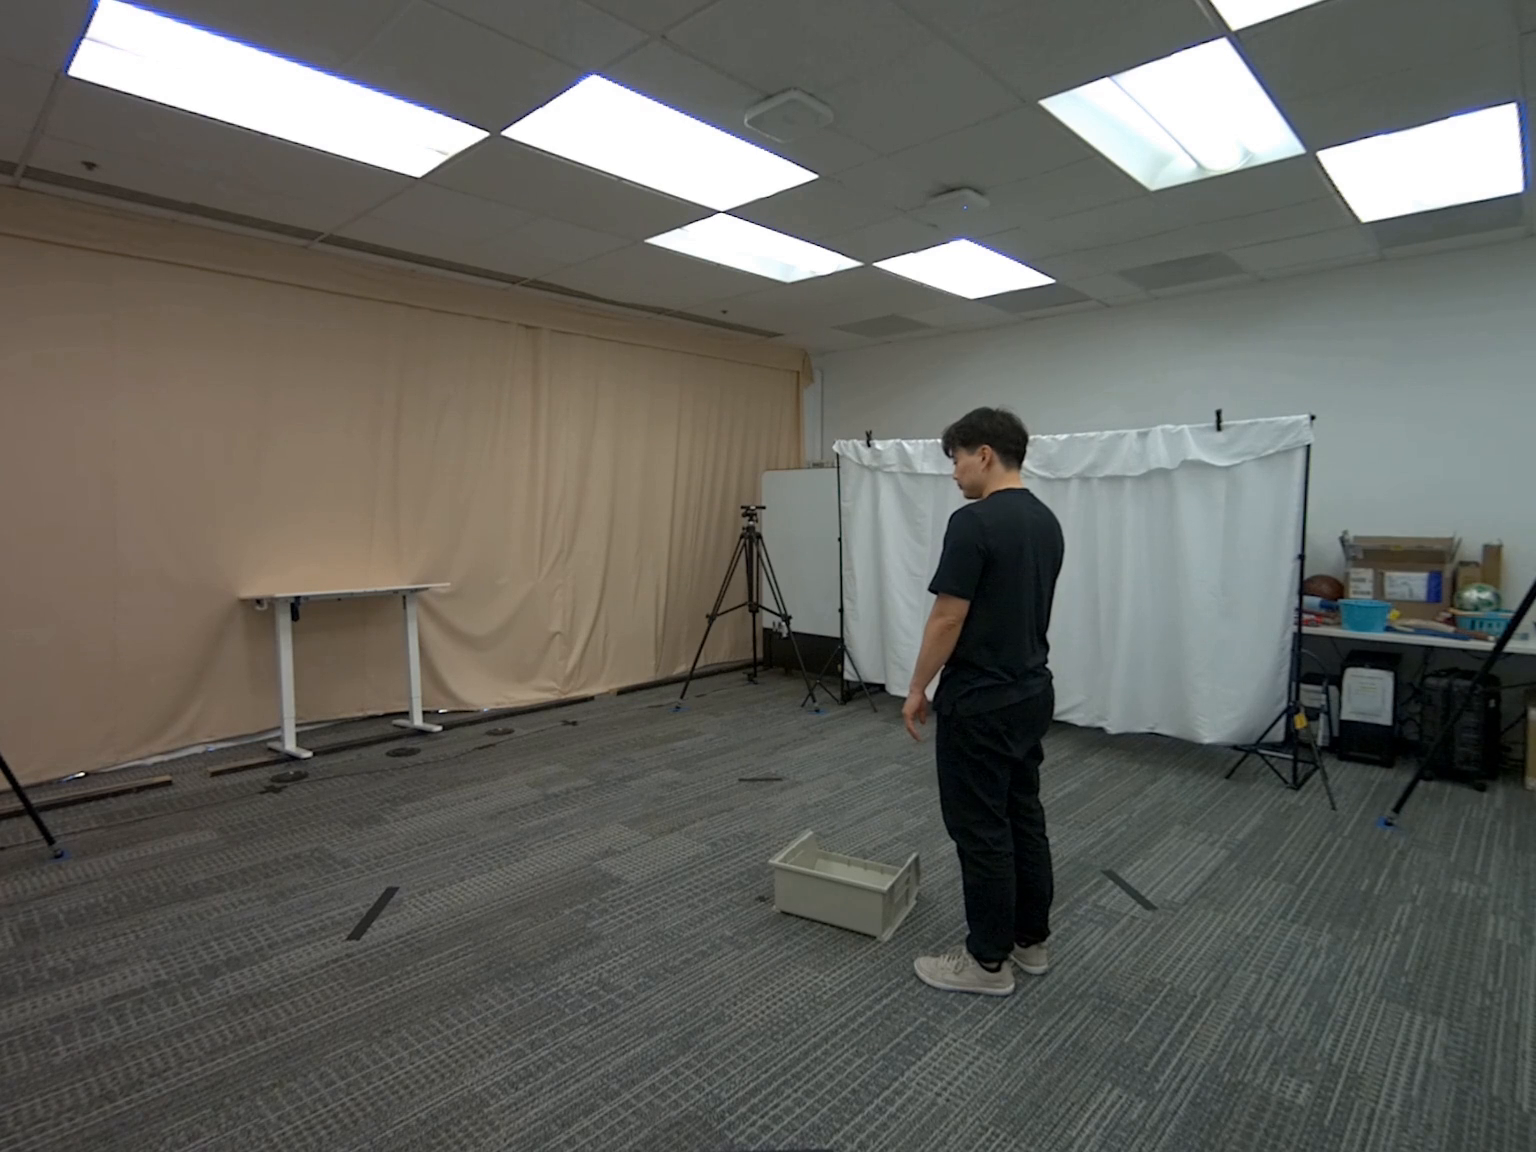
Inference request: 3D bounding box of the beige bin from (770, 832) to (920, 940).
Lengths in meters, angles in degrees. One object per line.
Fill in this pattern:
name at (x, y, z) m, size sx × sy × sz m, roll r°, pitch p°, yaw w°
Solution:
beige bin at (0.278, 1.059, 2.931) m, size 0.434 × 0.188 × 0.368 m, roll 3°, pitch 7°, yaw 29°
